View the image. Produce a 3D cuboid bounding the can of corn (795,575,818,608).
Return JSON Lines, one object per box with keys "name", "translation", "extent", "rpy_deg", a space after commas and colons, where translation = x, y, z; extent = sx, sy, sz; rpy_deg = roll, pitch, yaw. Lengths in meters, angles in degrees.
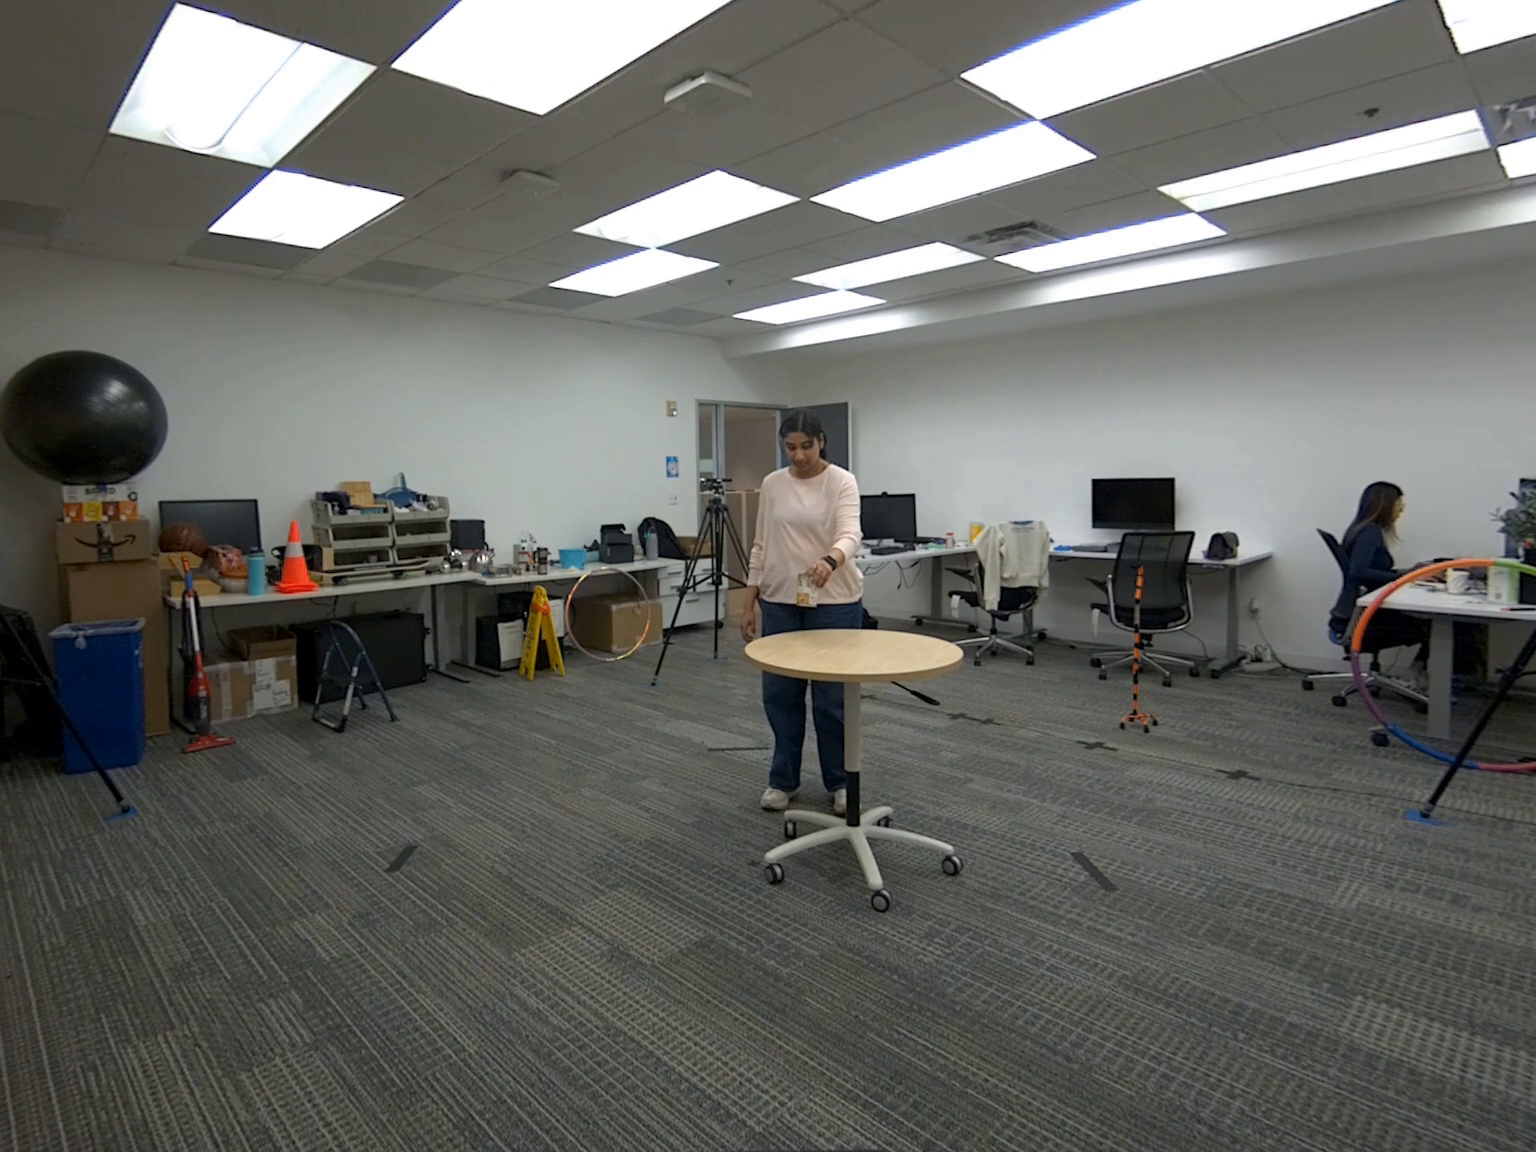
{"name": "can of corn", "translation": [0.139, 0.053, 3.061], "extent": [0.074, 0.111, 0.074], "rpy_deg": [3, -1, -2]}
